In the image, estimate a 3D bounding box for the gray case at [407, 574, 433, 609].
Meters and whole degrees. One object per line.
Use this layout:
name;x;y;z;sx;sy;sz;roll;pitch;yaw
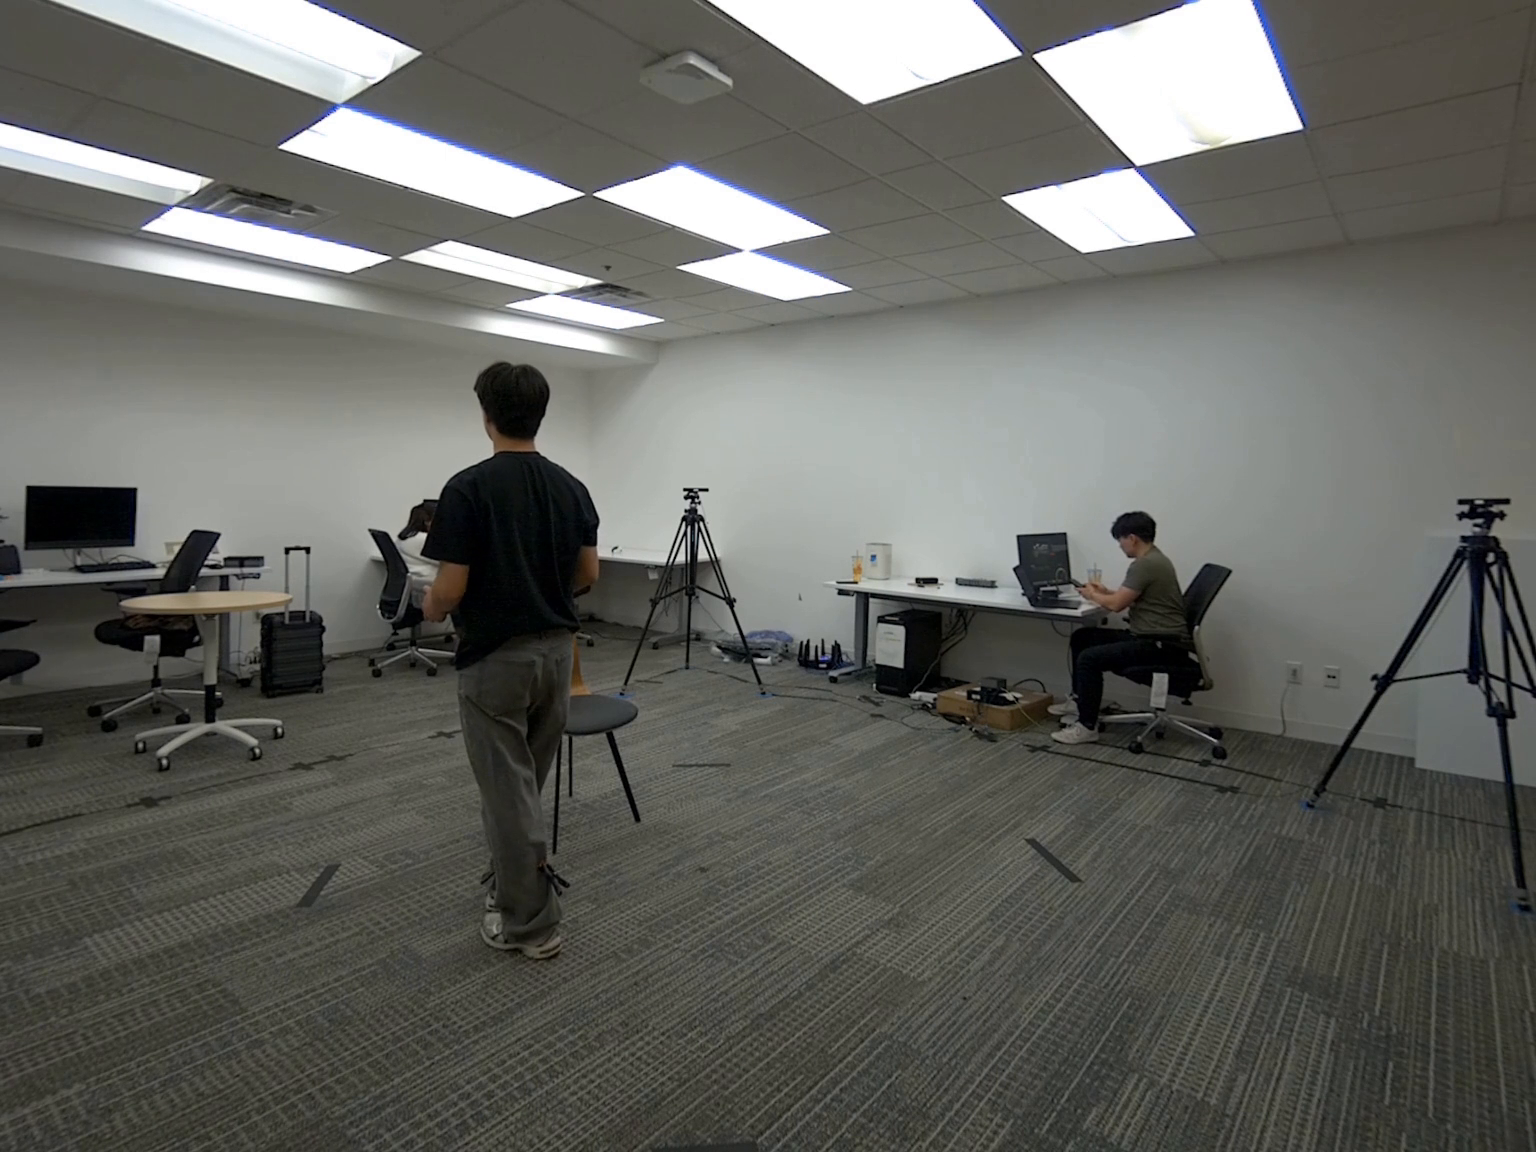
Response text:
gray case;-1.016;0.052;2.780;0.296;0.102;0.256;3;7;39
